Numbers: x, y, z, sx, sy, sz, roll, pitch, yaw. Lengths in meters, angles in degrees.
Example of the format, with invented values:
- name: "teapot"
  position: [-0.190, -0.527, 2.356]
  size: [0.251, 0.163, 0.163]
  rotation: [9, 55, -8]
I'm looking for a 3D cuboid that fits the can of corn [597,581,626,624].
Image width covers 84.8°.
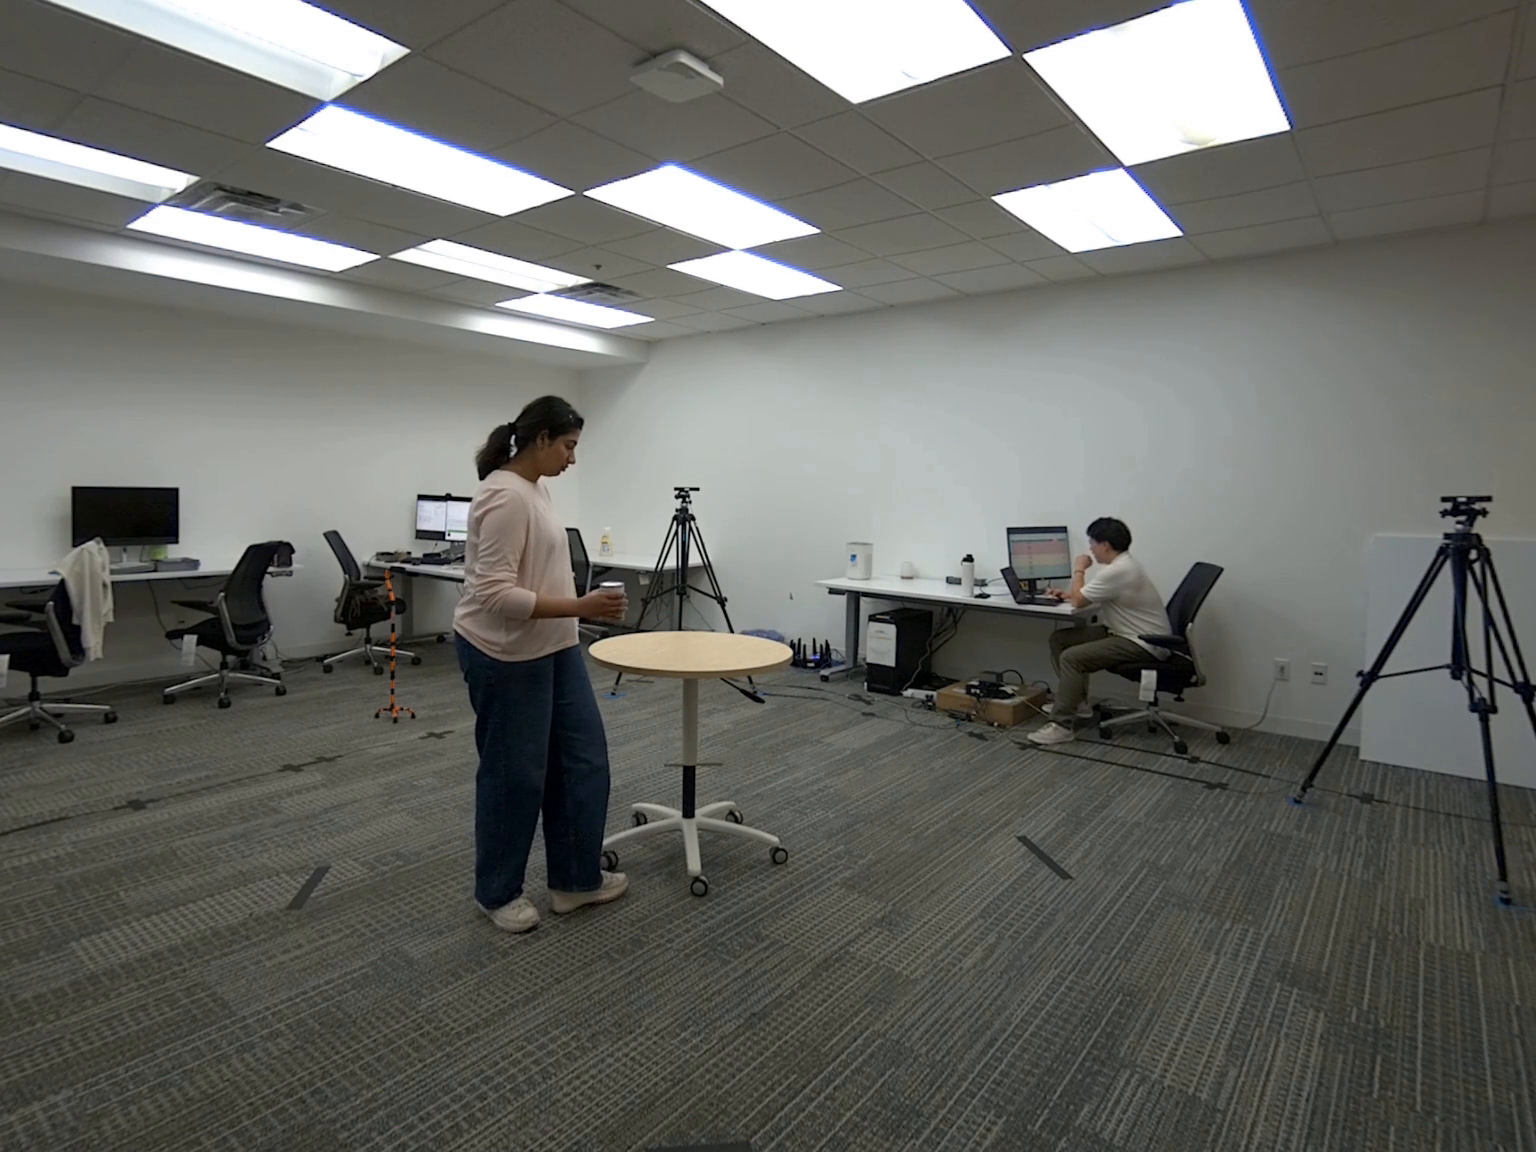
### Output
- name: "can of corn"
  position: [-0.487, 0.080, 2.611]
  size: [0.074, 0.110, 0.075]
  rotation: [-1, 12, -2]
